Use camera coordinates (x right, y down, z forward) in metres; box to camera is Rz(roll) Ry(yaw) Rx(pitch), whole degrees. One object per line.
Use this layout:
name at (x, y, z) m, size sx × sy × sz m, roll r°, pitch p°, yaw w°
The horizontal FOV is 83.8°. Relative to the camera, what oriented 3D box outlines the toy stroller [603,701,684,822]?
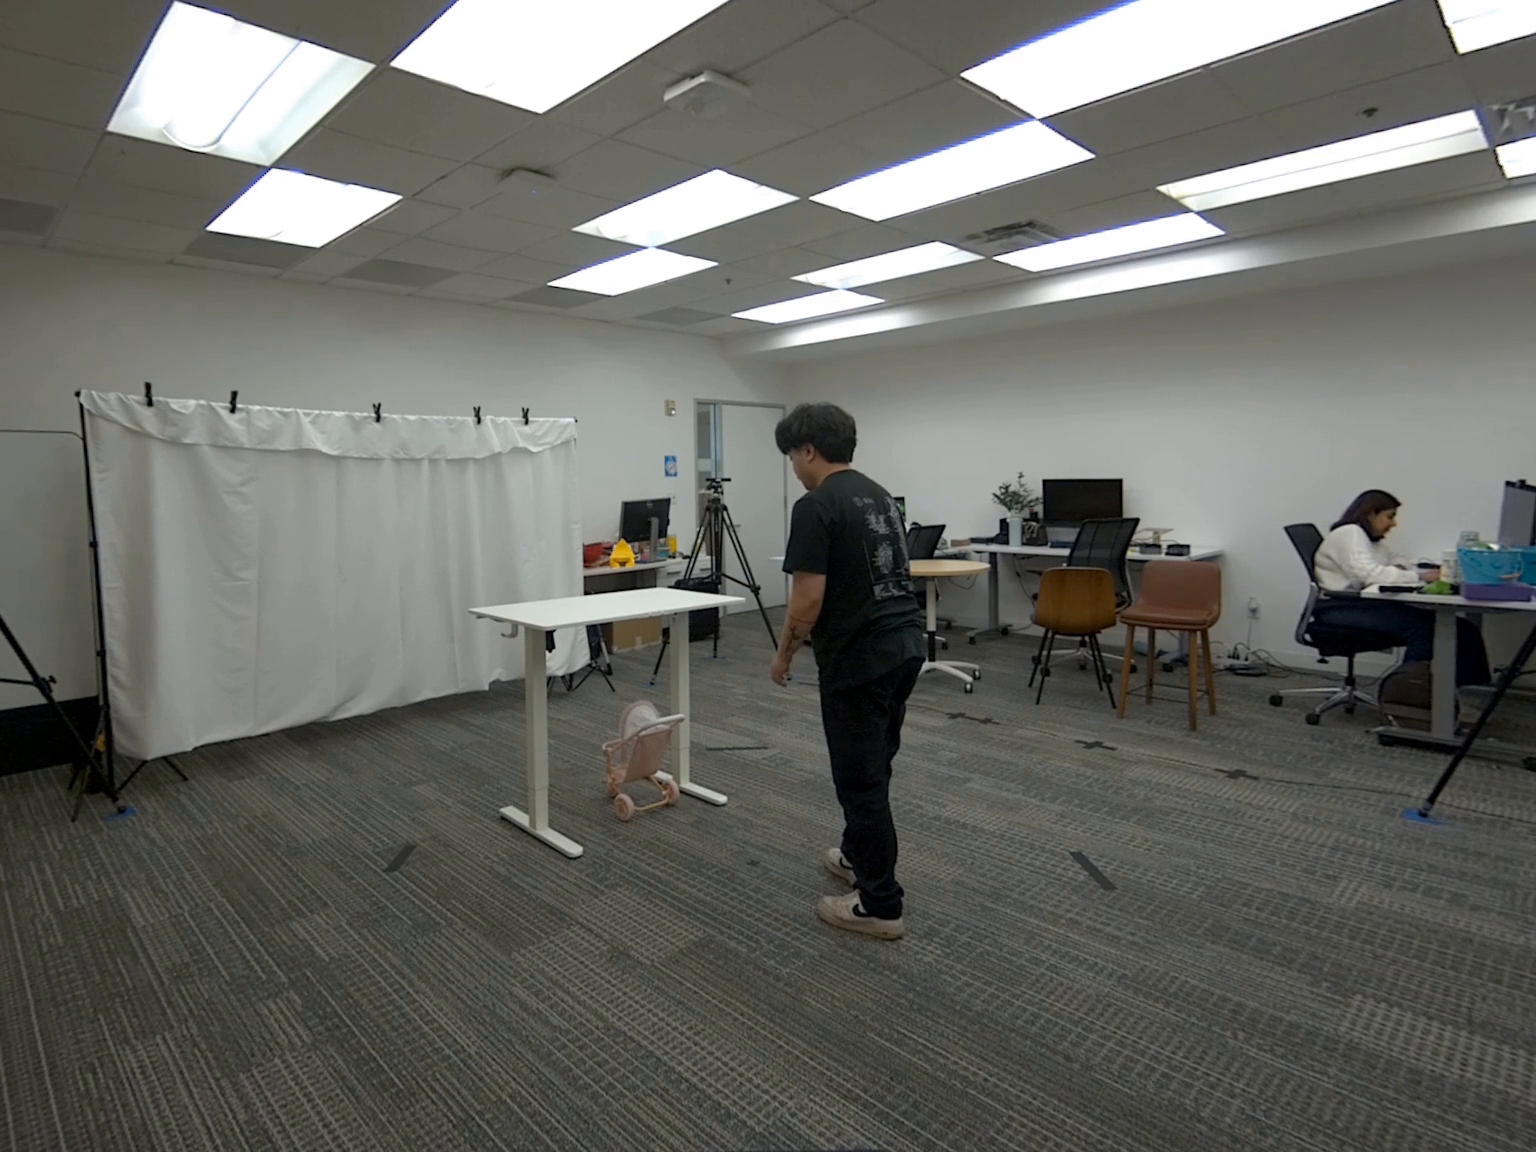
toy stroller at (-0.554, 0.766, 3.642) m, size 0.274 × 0.529 × 0.354 m, roll -4°, pitch 21°, yaw -41°
